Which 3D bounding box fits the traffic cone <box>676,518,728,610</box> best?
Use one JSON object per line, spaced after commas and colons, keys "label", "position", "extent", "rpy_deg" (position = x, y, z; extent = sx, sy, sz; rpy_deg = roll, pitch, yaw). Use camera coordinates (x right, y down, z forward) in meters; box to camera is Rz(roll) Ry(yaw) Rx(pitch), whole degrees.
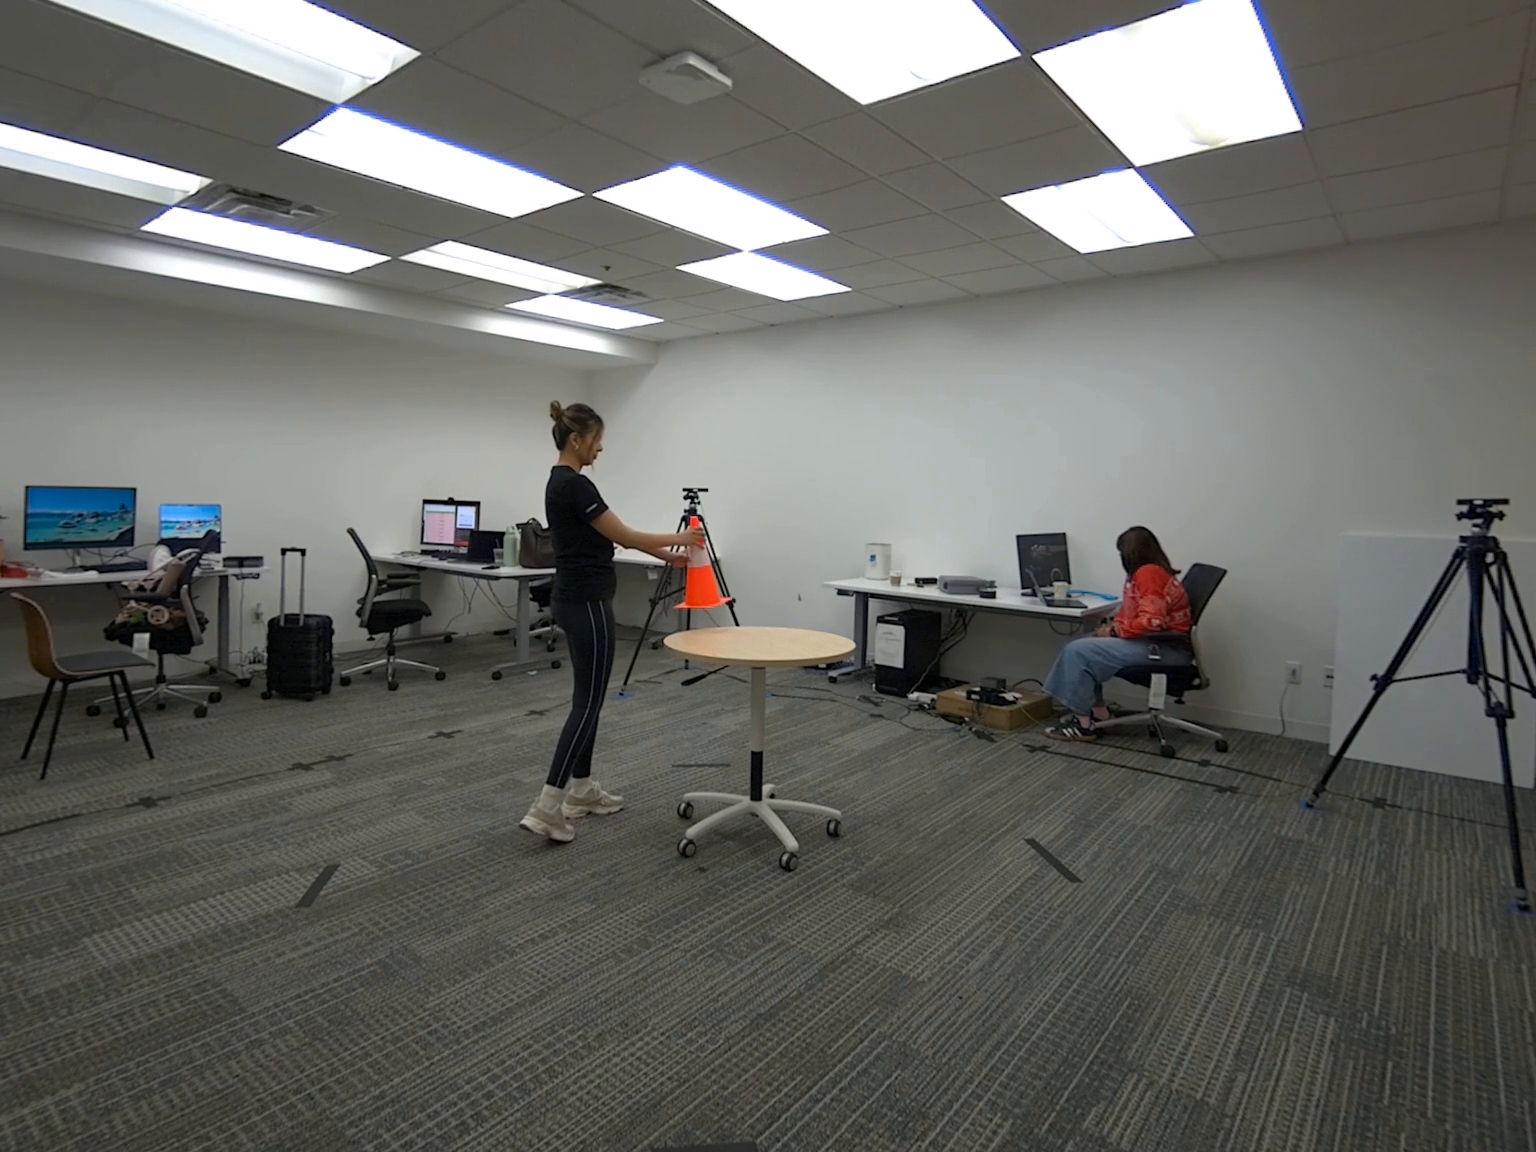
{"label": "traffic cone", "position": [-0.327, -0.069, 3.710], "extent": [0.210, 0.381, 0.200], "rpy_deg": [-2, 7, 24]}
